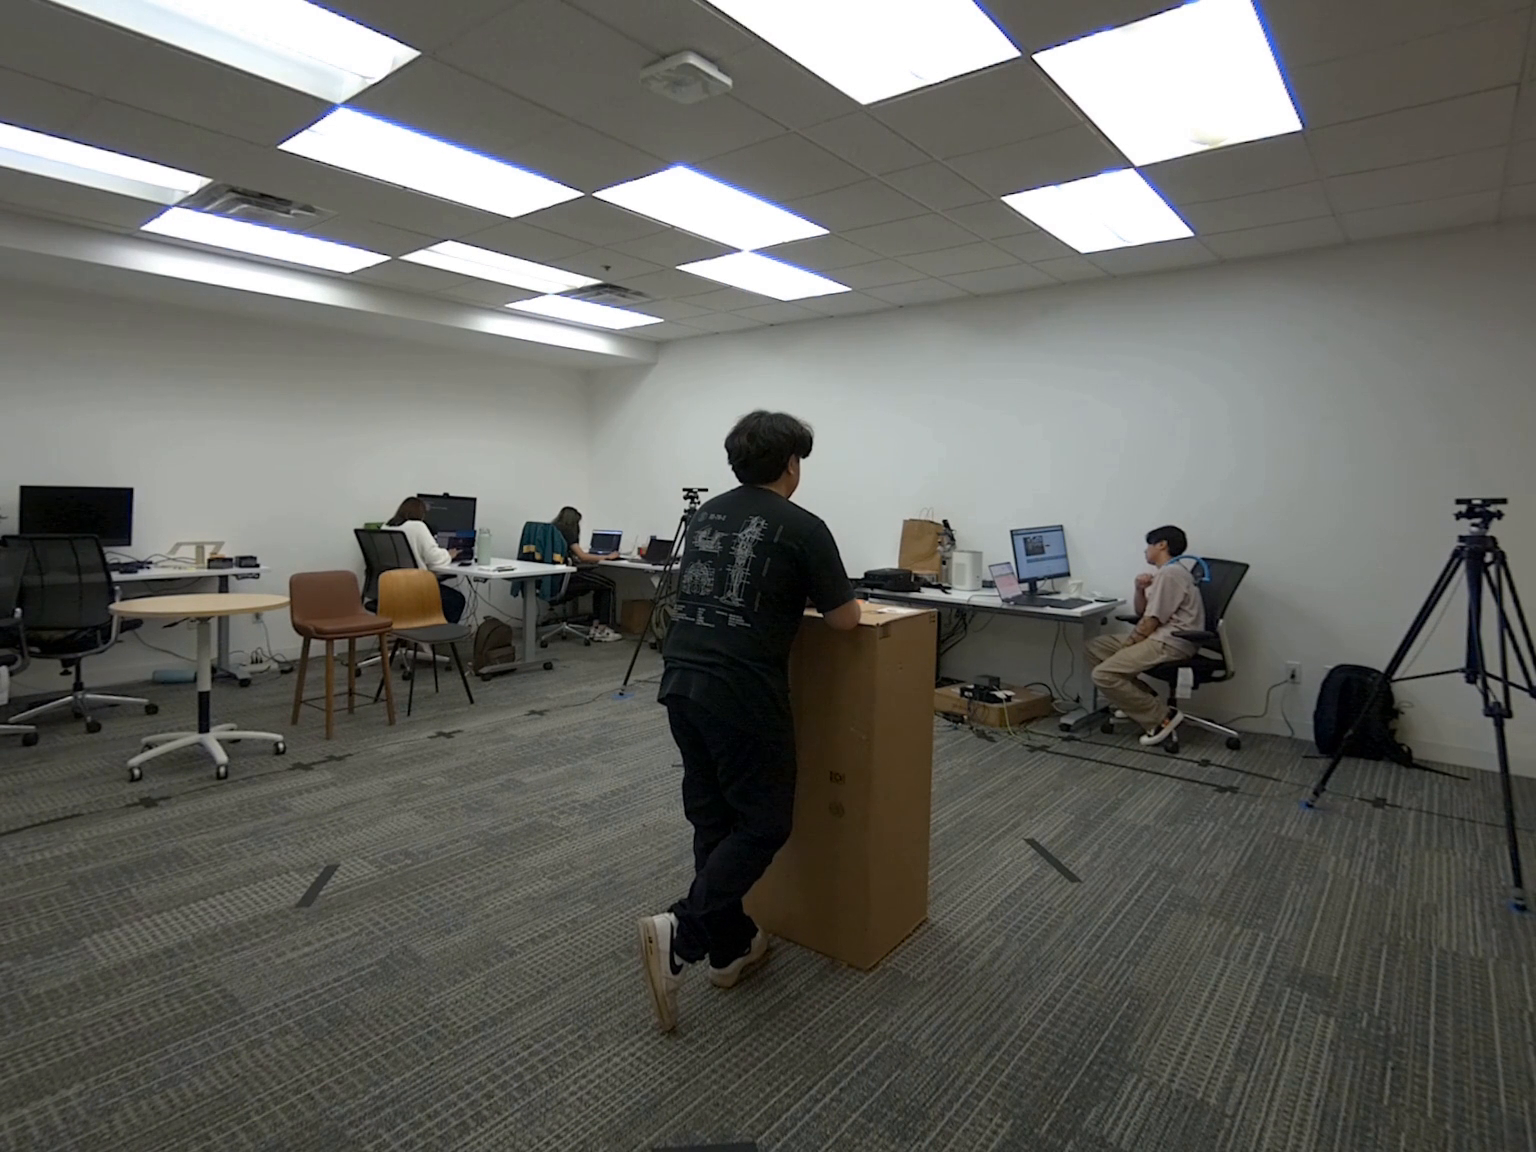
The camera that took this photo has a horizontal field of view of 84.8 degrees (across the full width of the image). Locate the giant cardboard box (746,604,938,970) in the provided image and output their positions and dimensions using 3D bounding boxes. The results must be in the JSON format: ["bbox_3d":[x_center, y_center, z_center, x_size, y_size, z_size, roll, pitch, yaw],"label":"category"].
[{"bbox_3d":[0.180,0.600,2.783,0.603,1.024,0.433,4,3,37],"label":"giant cardboard box"}]
